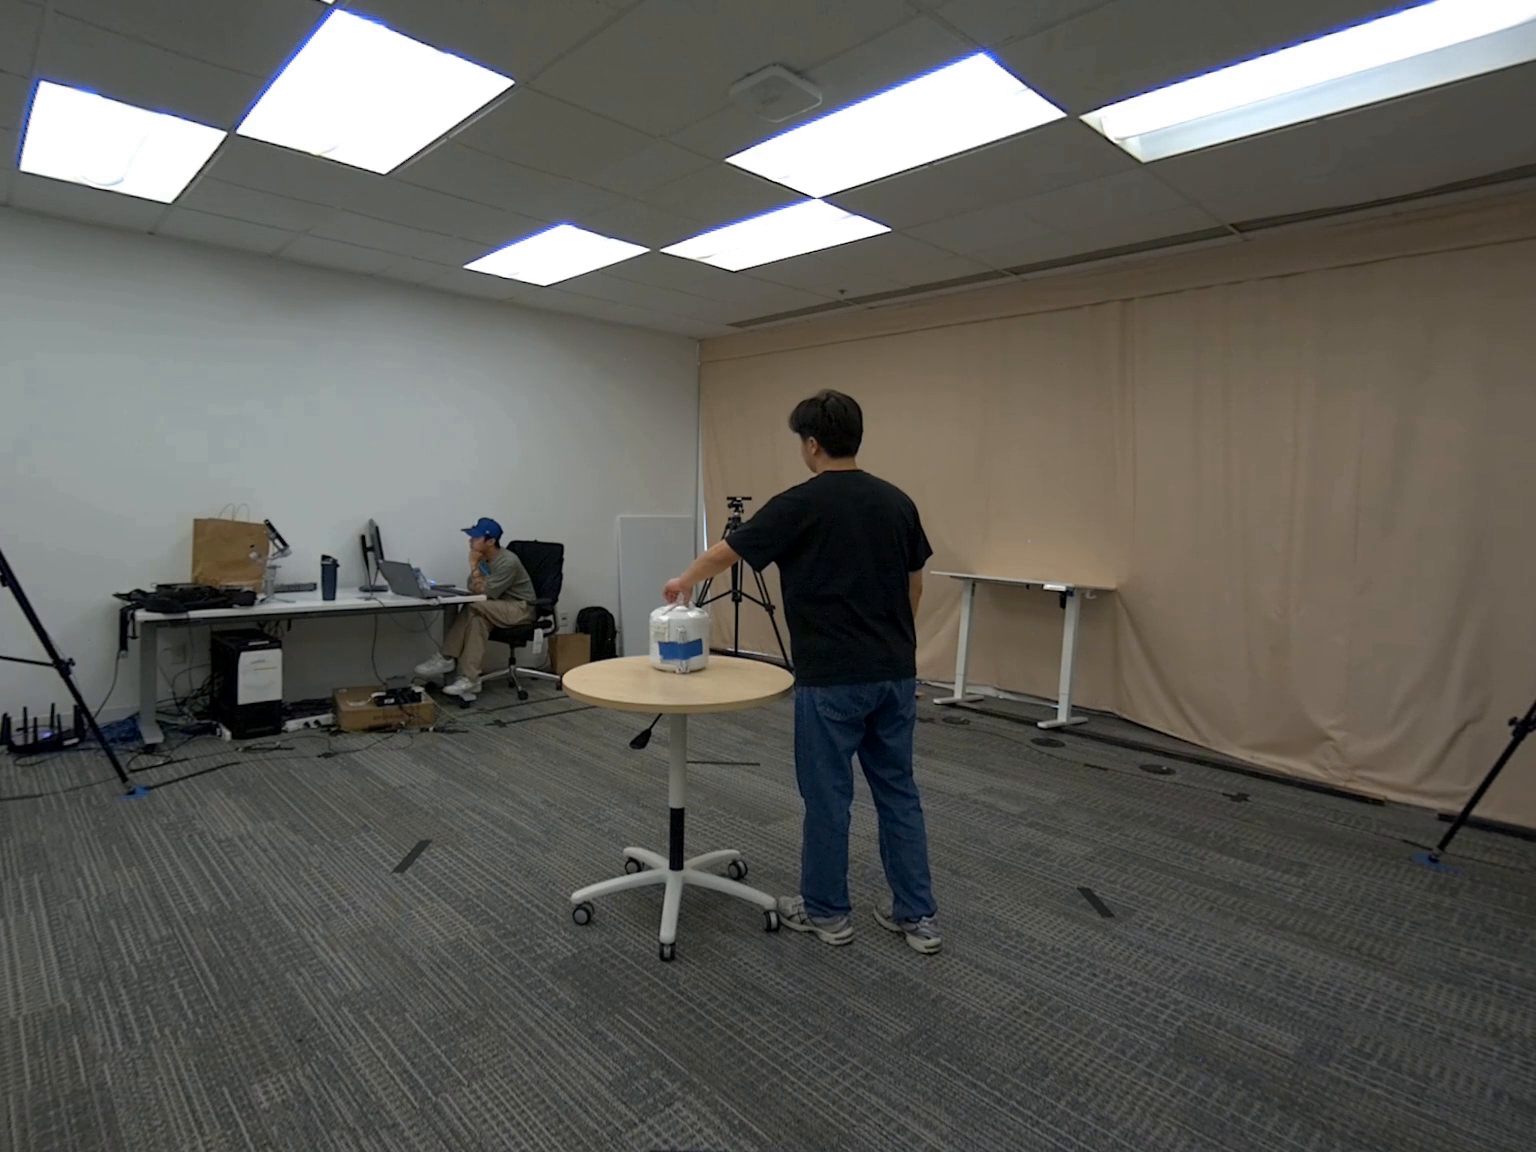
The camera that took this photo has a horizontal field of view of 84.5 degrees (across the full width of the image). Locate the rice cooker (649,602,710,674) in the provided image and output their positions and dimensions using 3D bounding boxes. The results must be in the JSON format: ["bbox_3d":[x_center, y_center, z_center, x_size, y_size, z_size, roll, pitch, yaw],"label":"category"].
[{"bbox_3d":[-0.316,0.208,2.933,0.223,0.232,0.216,5,5,35],"label":"rice cooker"}]
